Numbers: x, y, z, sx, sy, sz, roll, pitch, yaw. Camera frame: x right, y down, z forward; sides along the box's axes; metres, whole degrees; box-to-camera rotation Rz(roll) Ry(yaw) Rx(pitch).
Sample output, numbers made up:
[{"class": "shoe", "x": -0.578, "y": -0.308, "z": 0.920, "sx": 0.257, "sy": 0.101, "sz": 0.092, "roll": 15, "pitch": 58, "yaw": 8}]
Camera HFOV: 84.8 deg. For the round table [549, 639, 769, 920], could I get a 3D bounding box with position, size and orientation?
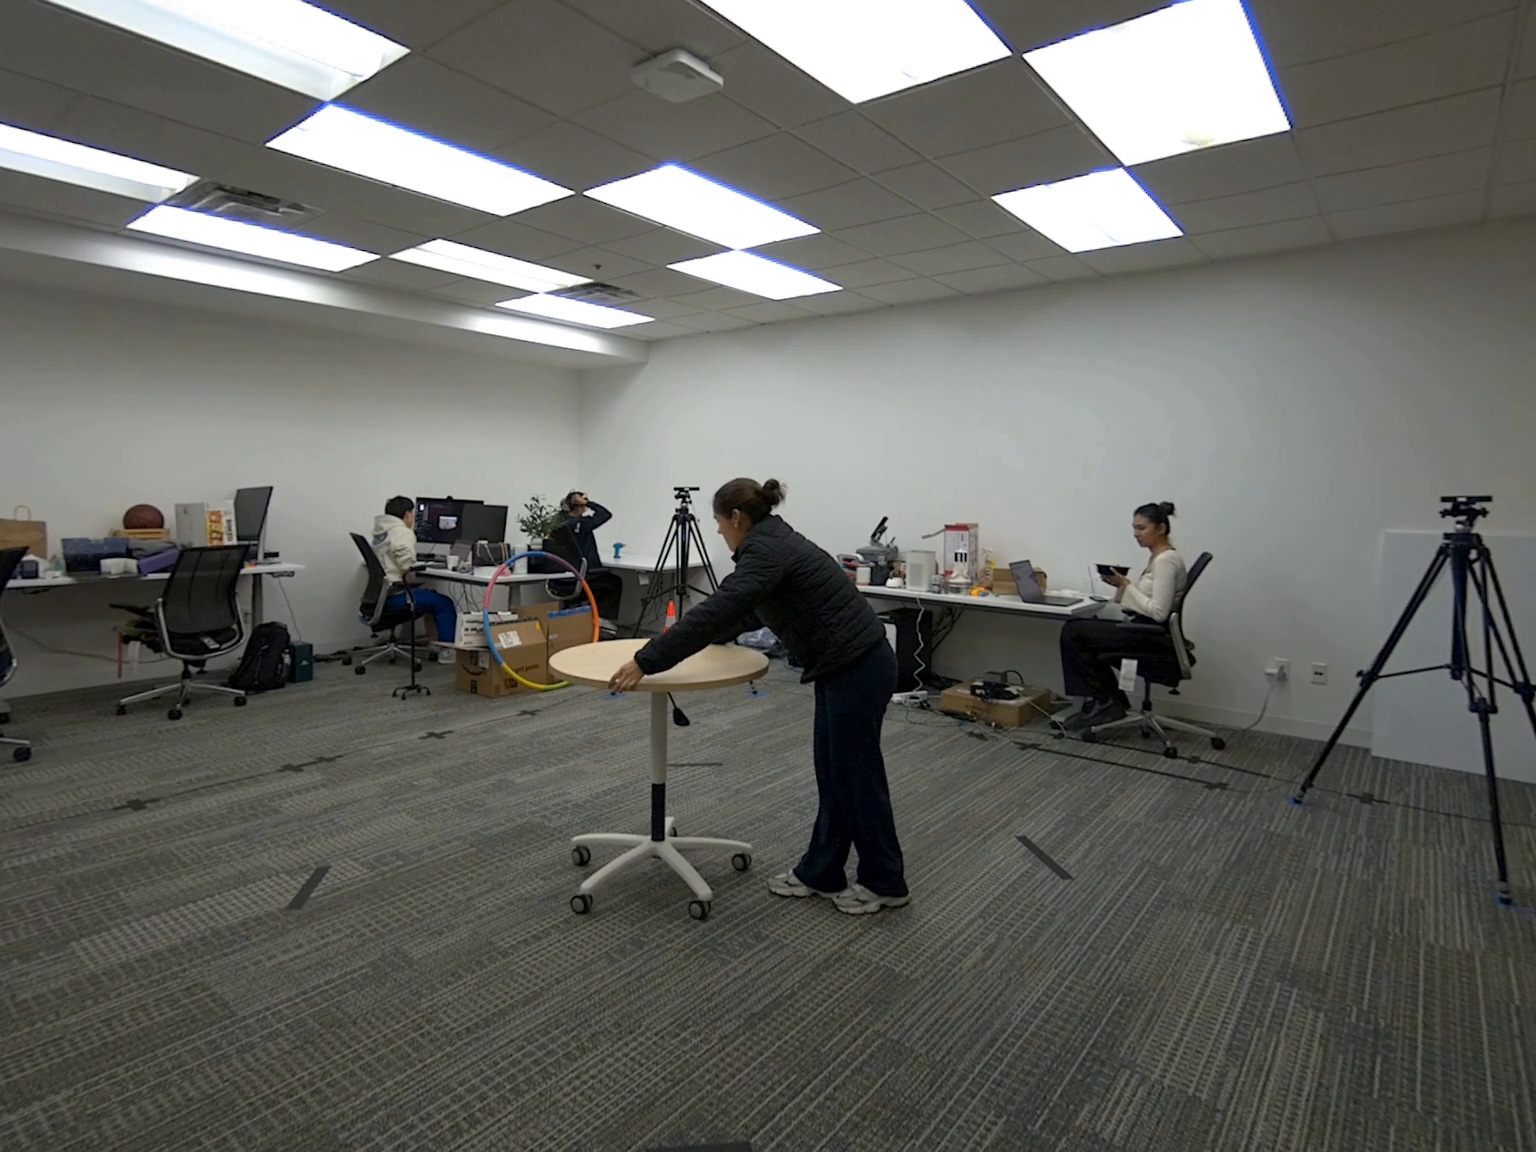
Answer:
[{"class": "round table", "x": -0.364, "y": 0.675, "z": 3.021, "sx": 0.784, "sy": 0.783, "sz": 0.789, "roll": 0, "pitch": 5, "yaw": -2}]
